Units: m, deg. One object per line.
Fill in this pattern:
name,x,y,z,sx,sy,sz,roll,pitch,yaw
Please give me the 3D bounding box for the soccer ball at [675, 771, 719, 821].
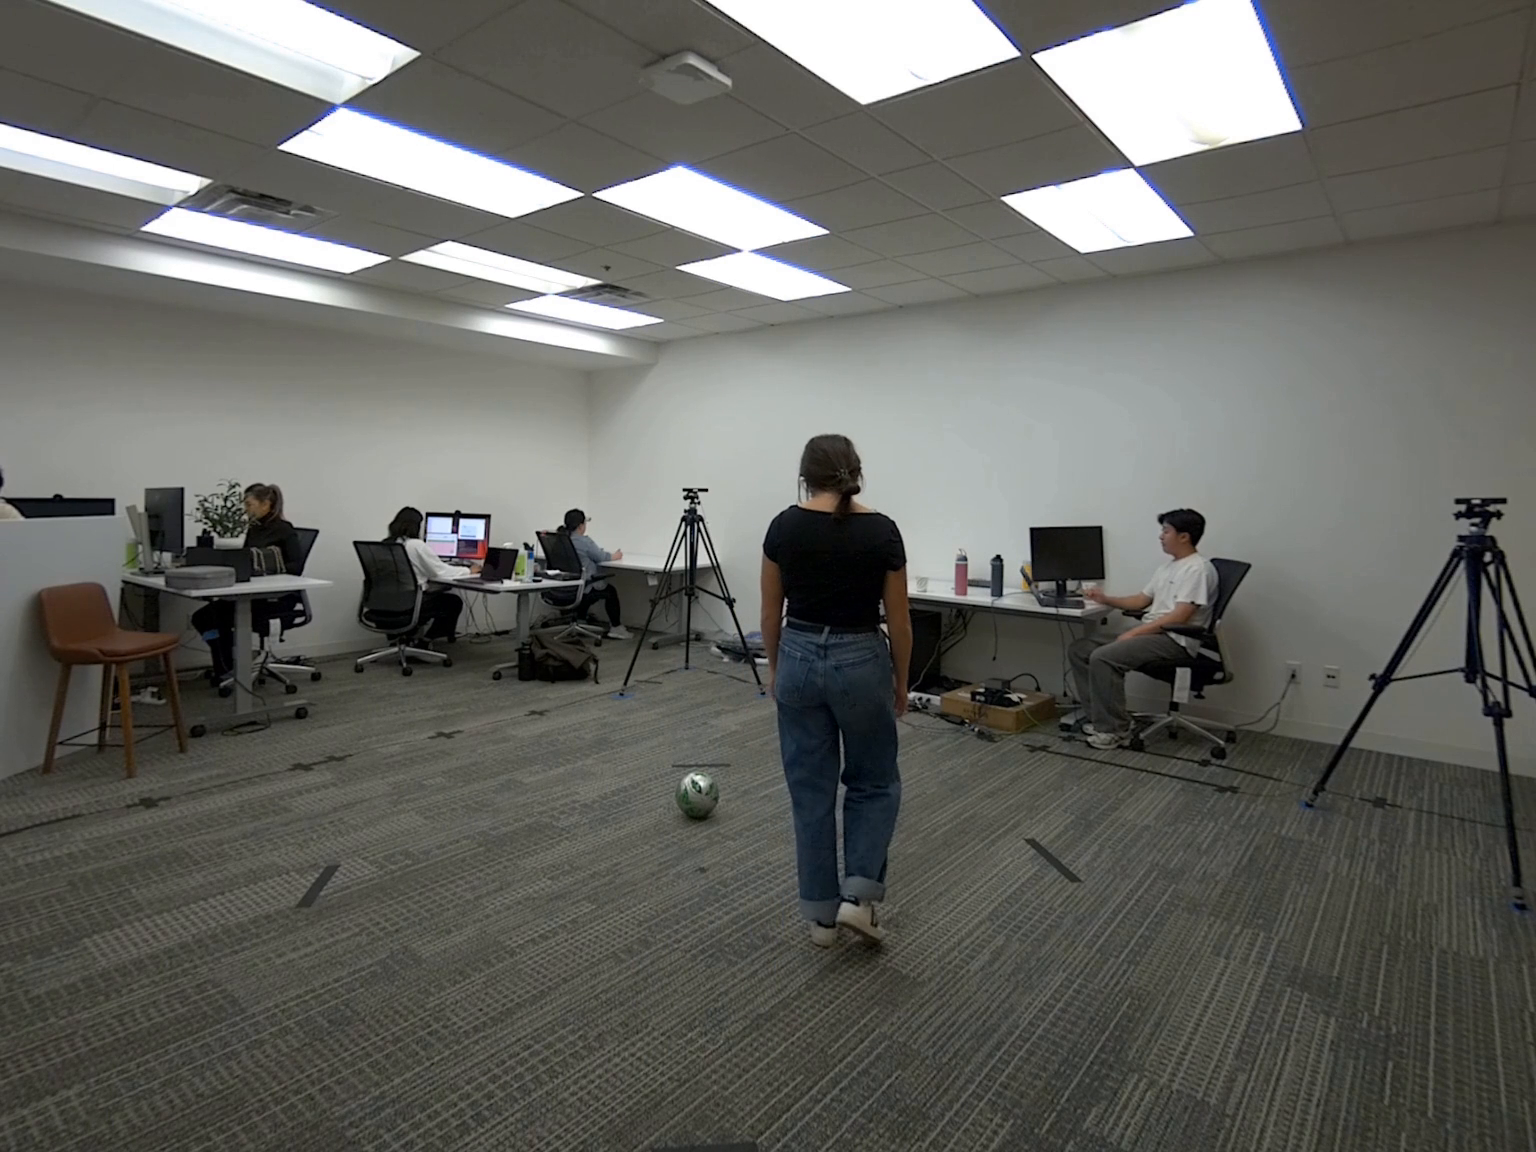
soccer ball,-0.304,0.920,3.624,0.187,0.187,0.188,1,4,-2
